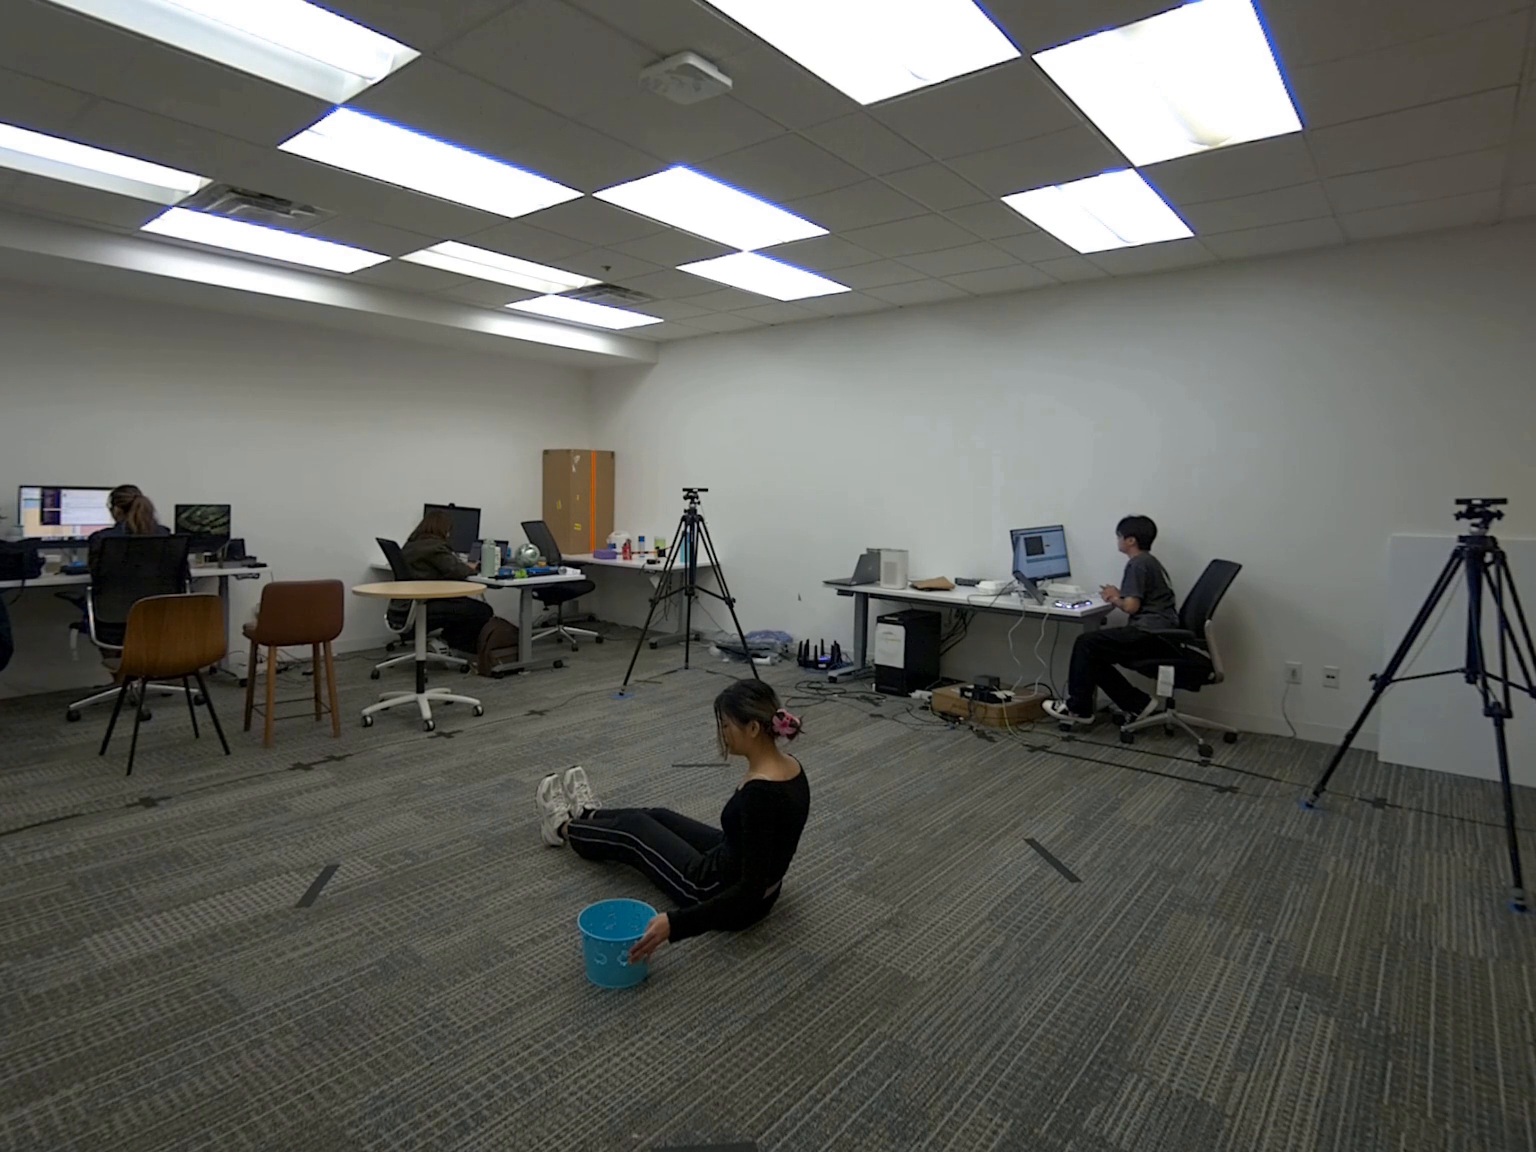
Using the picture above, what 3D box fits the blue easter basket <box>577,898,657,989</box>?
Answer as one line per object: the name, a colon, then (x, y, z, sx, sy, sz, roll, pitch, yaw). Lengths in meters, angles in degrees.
blue easter basket: (-0.442, 1.051, 2.458, 0.243, 0.155, 0.245, 0, 6, -2)
